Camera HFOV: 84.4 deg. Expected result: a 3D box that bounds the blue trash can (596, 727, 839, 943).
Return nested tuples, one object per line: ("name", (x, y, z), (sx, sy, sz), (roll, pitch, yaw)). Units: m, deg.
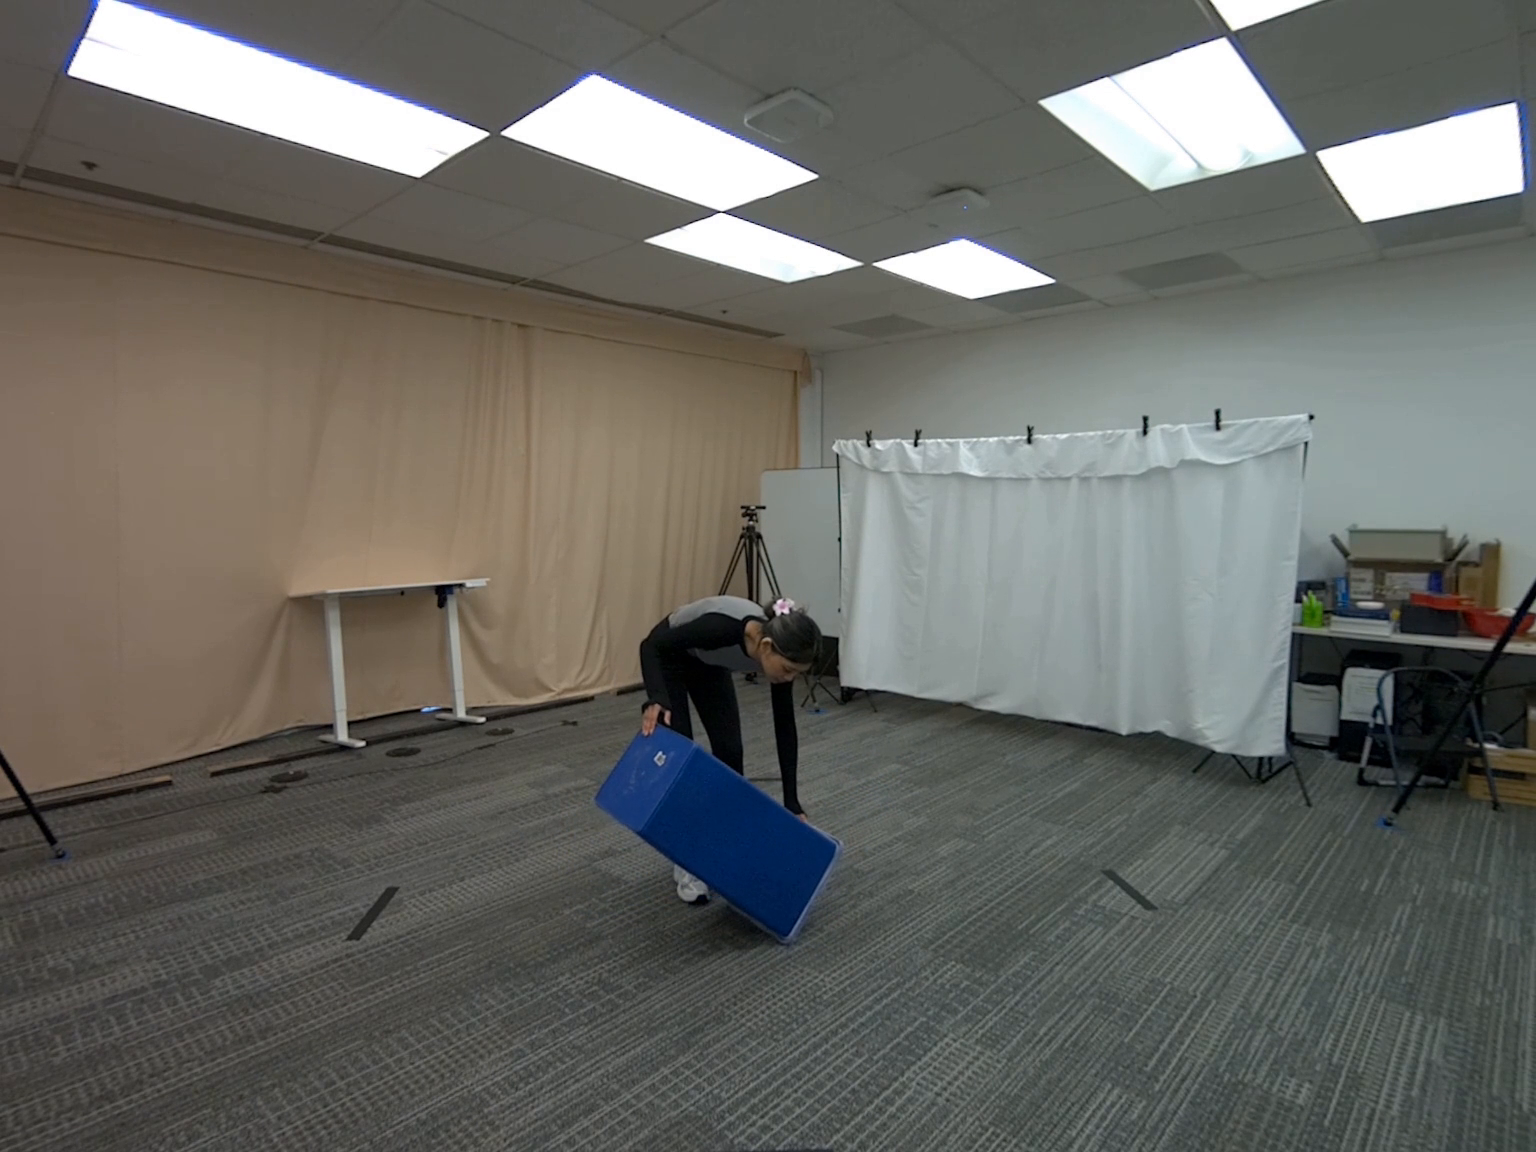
("blue trash can", (-0.153, 0.803, 2.686), (0.692, 0.373, 0.390), (45, -20, -29))
